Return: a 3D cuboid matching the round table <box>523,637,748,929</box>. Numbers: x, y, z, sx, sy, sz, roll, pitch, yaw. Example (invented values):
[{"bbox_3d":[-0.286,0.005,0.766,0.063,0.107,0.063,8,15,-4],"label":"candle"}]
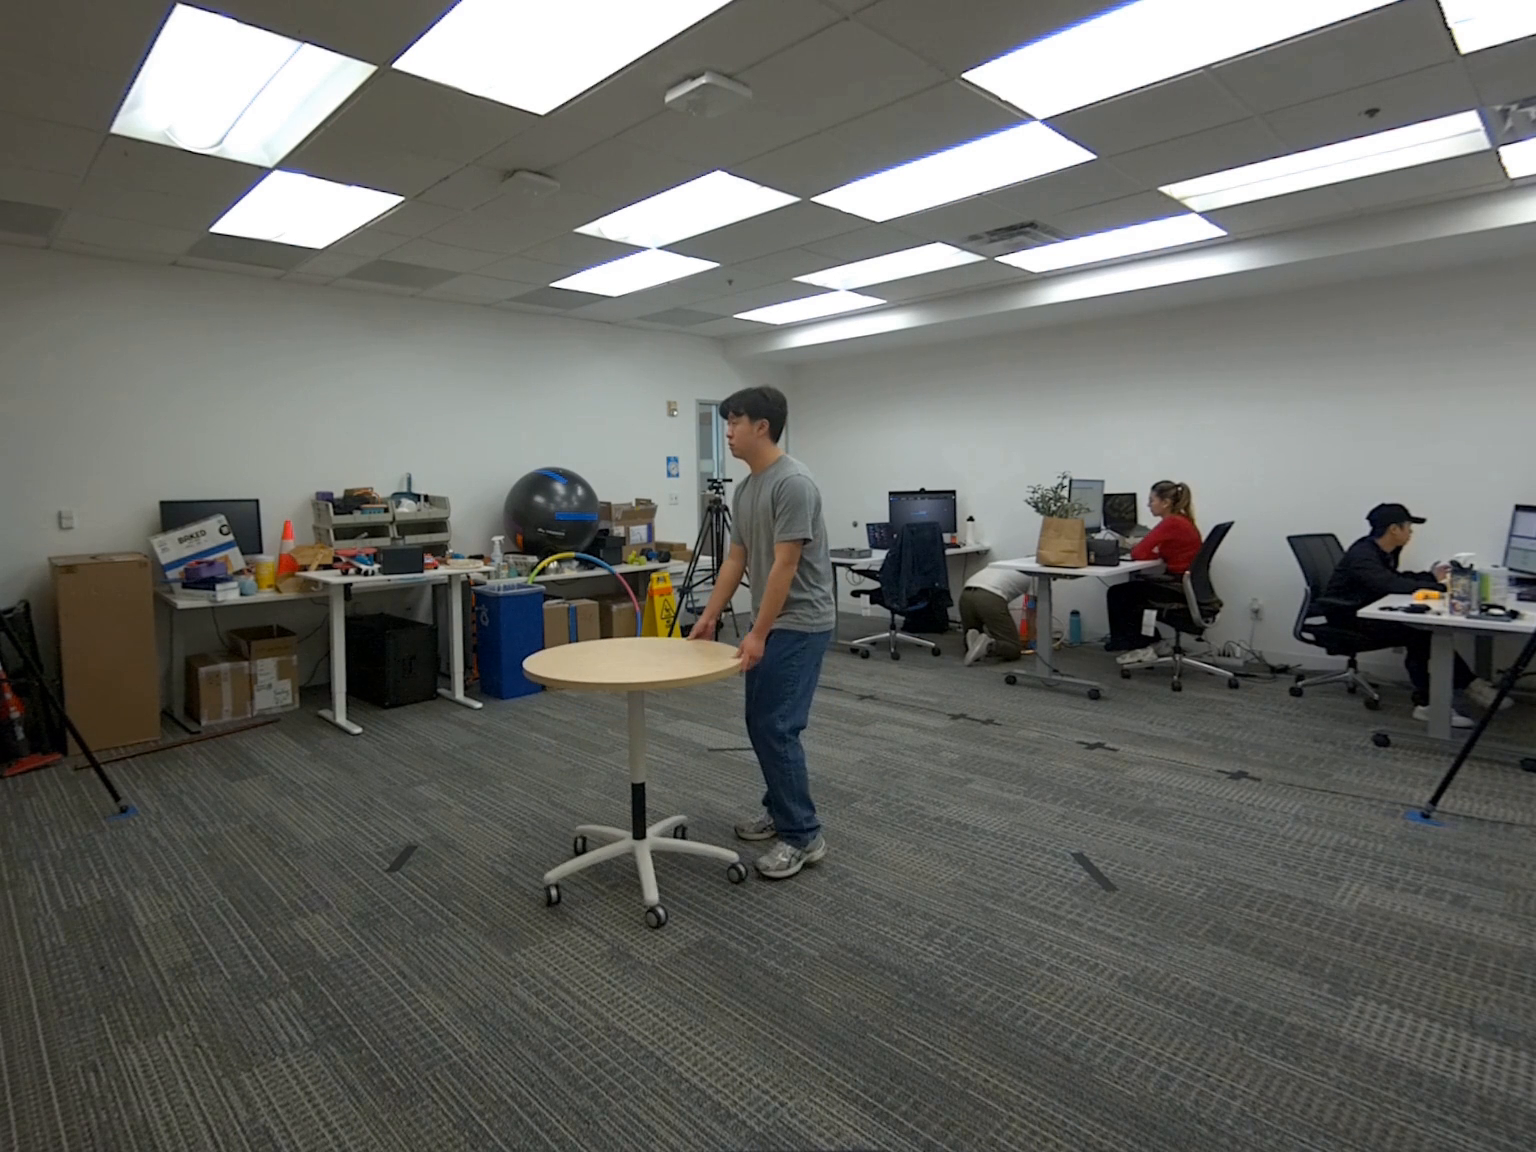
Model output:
[{"bbox_3d":[-0.449,0.674,2.997,0.763,0.791,0.768,-1,5,-2],"label":"round table"}]
